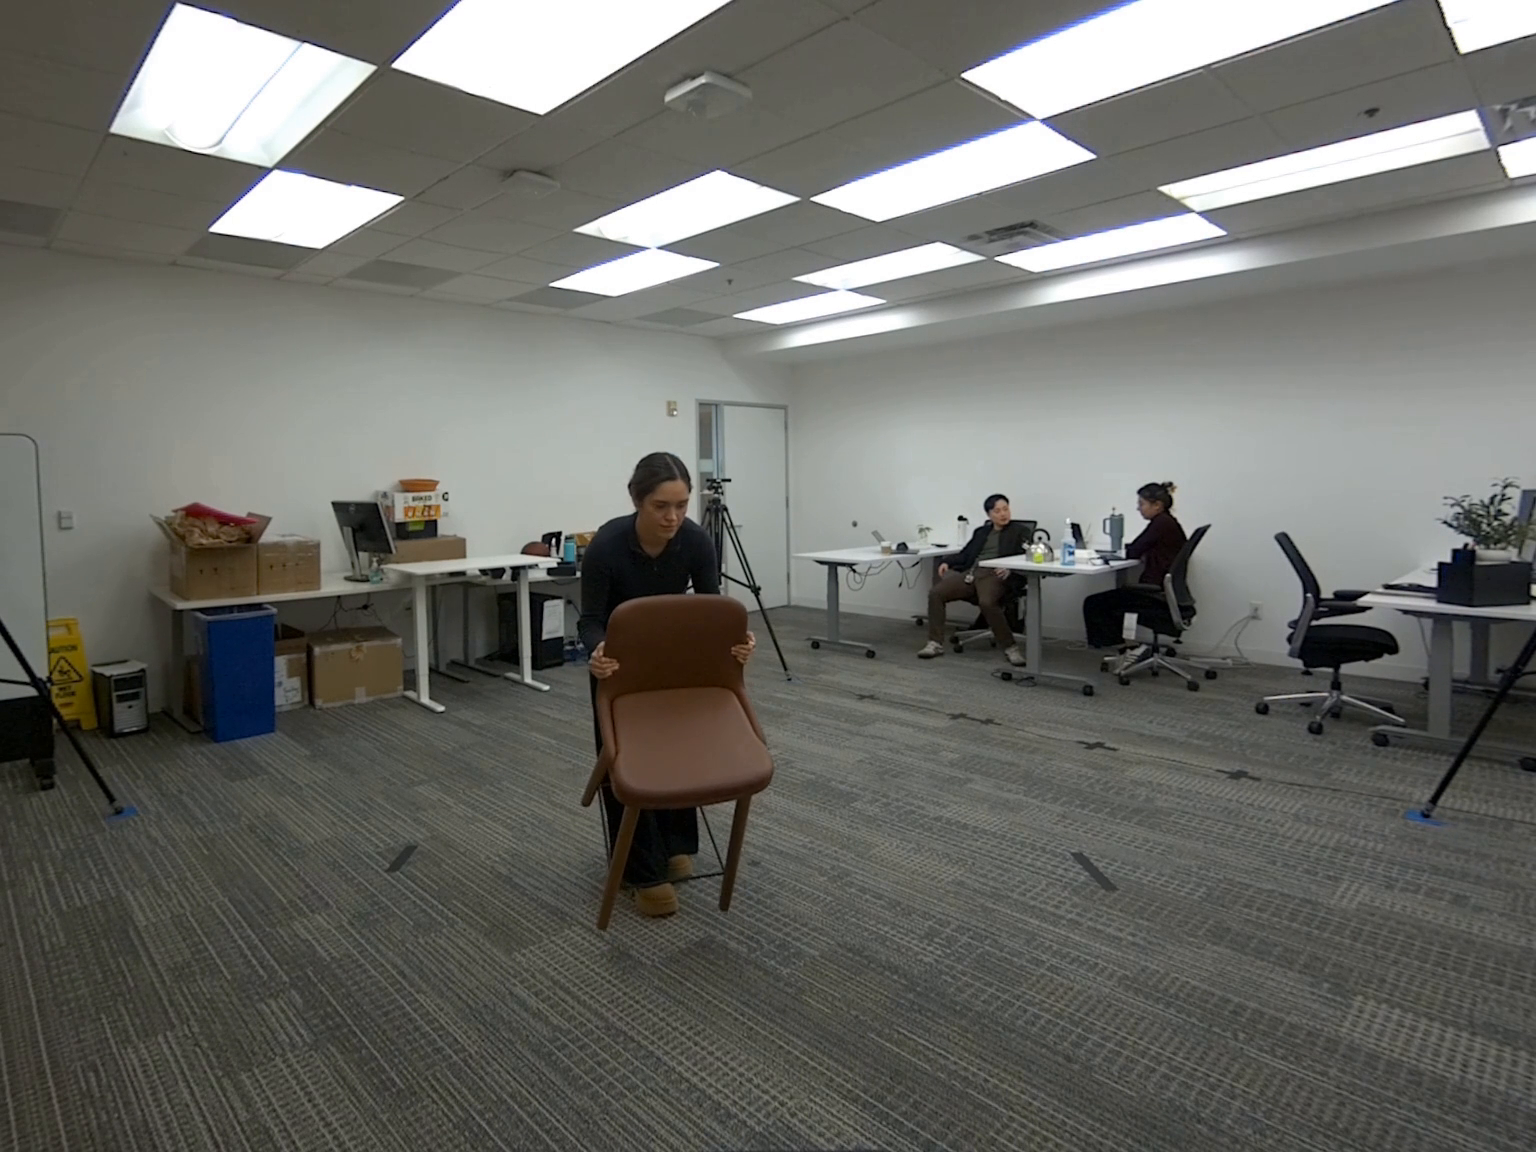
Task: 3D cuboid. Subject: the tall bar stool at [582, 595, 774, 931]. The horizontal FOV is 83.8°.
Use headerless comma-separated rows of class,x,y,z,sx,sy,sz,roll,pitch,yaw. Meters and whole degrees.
tall bar stool,-0.266,0.547,2.467,0.448,0.874,0.485,0,36,-22
